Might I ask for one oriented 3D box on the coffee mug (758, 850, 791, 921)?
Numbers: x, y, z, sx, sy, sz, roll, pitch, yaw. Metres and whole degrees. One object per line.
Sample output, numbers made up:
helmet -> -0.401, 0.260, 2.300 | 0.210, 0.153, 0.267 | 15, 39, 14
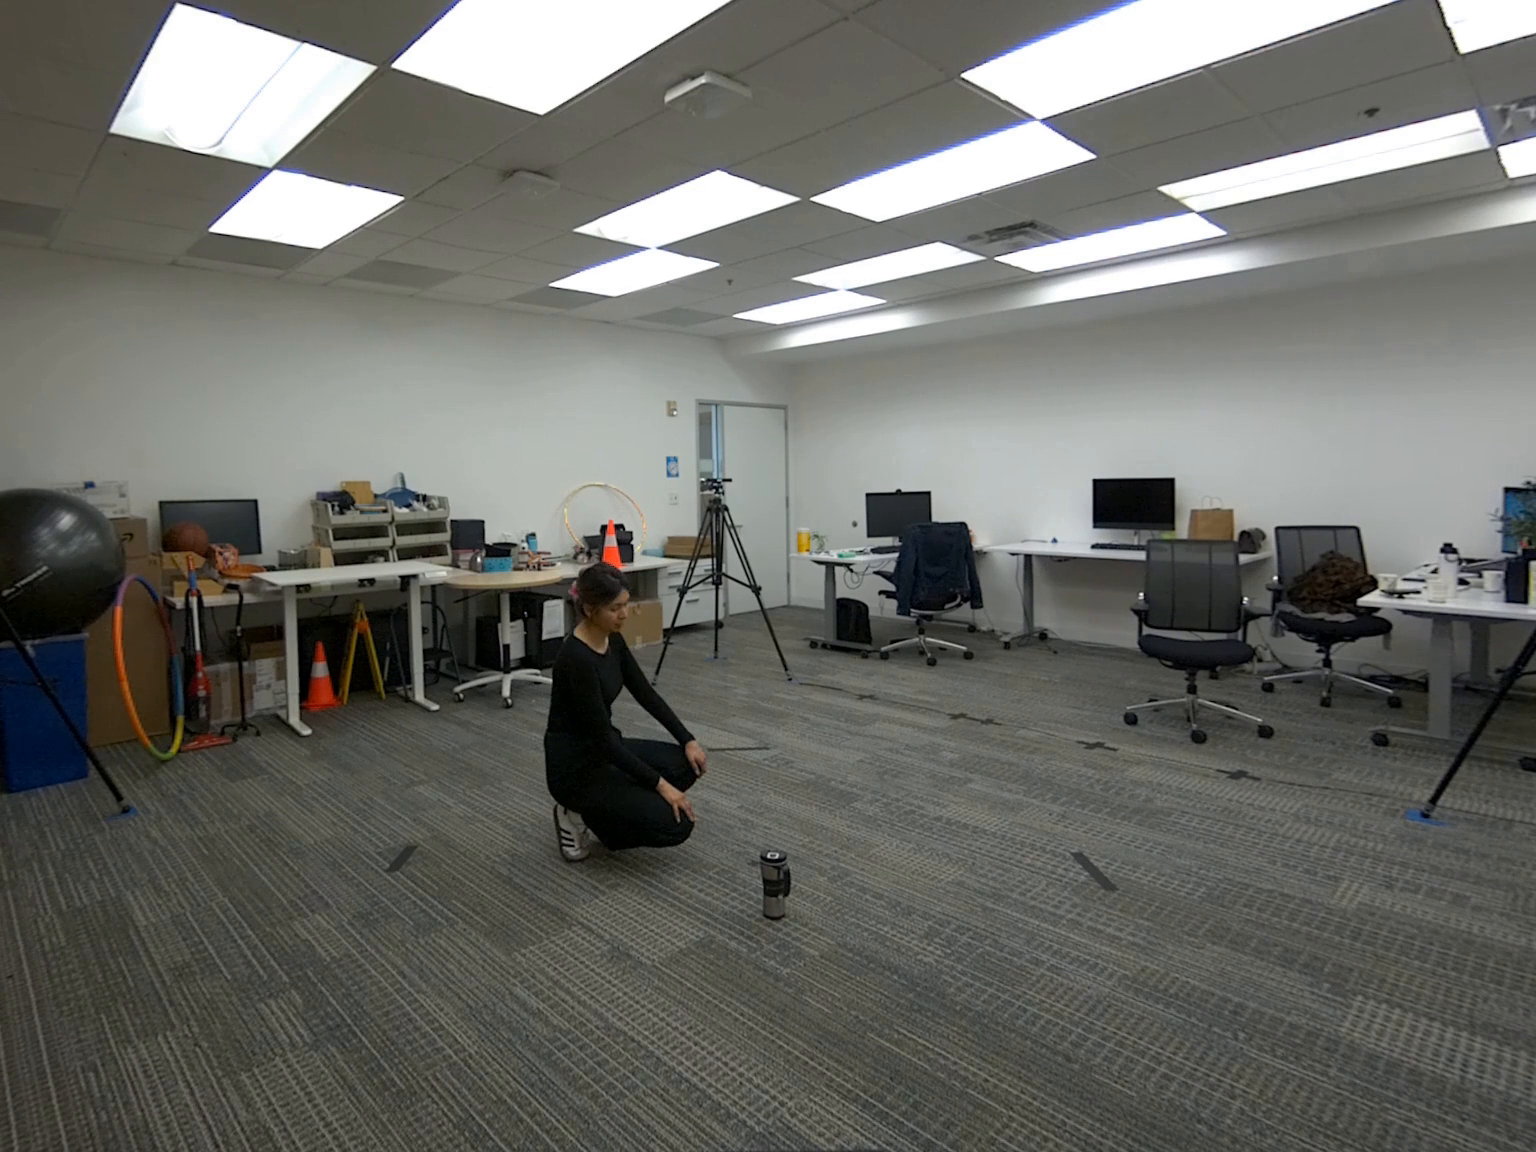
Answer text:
coffee mug -> 0.025, 0.990, 2.705 | 0.088, 0.203, 0.122 | 0, 2, -4
